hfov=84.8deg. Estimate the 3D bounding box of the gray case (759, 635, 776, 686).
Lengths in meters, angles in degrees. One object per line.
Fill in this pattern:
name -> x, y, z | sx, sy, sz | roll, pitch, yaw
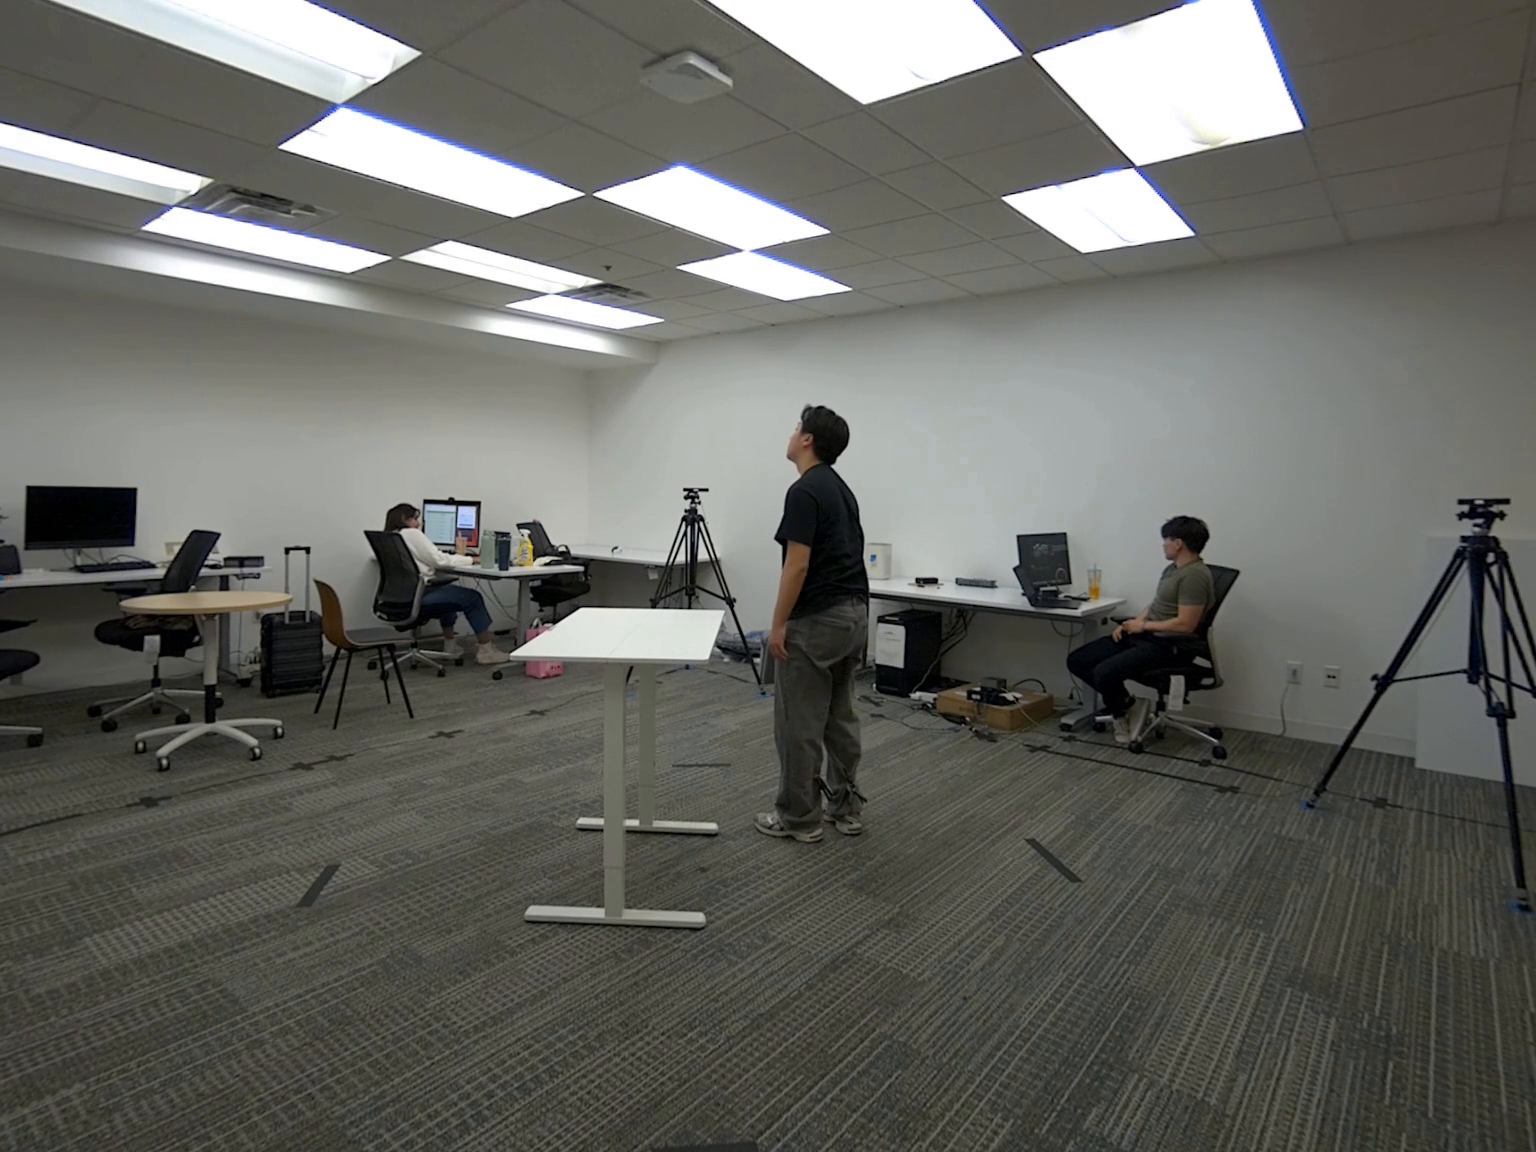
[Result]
gray case -> 0.084, 0.346, 3.835 | 0.259, 0.281, 0.107 | -4, 26, -15
